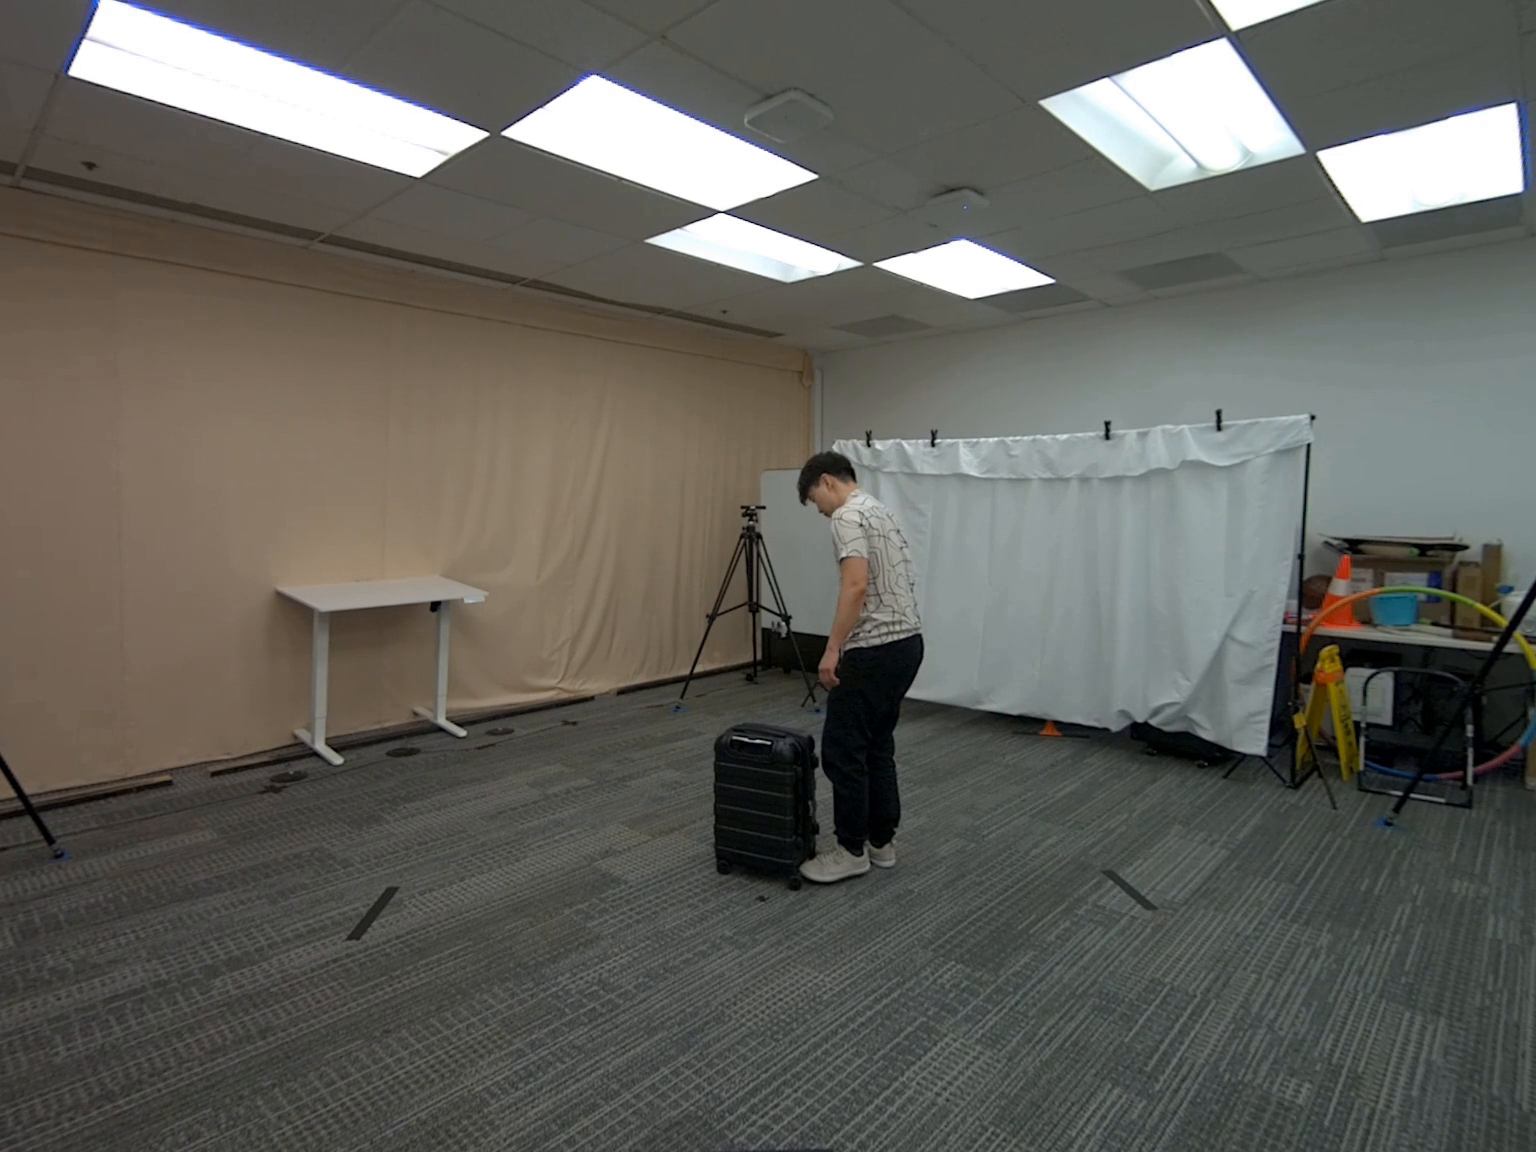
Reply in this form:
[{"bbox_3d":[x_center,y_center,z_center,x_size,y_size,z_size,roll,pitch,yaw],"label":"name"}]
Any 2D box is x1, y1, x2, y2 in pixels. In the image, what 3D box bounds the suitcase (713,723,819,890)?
[{"bbox_3d":[-0.016,0.850,3.208,0.385,0.548,0.242,0,3,26],"label":"suitcase"}]
